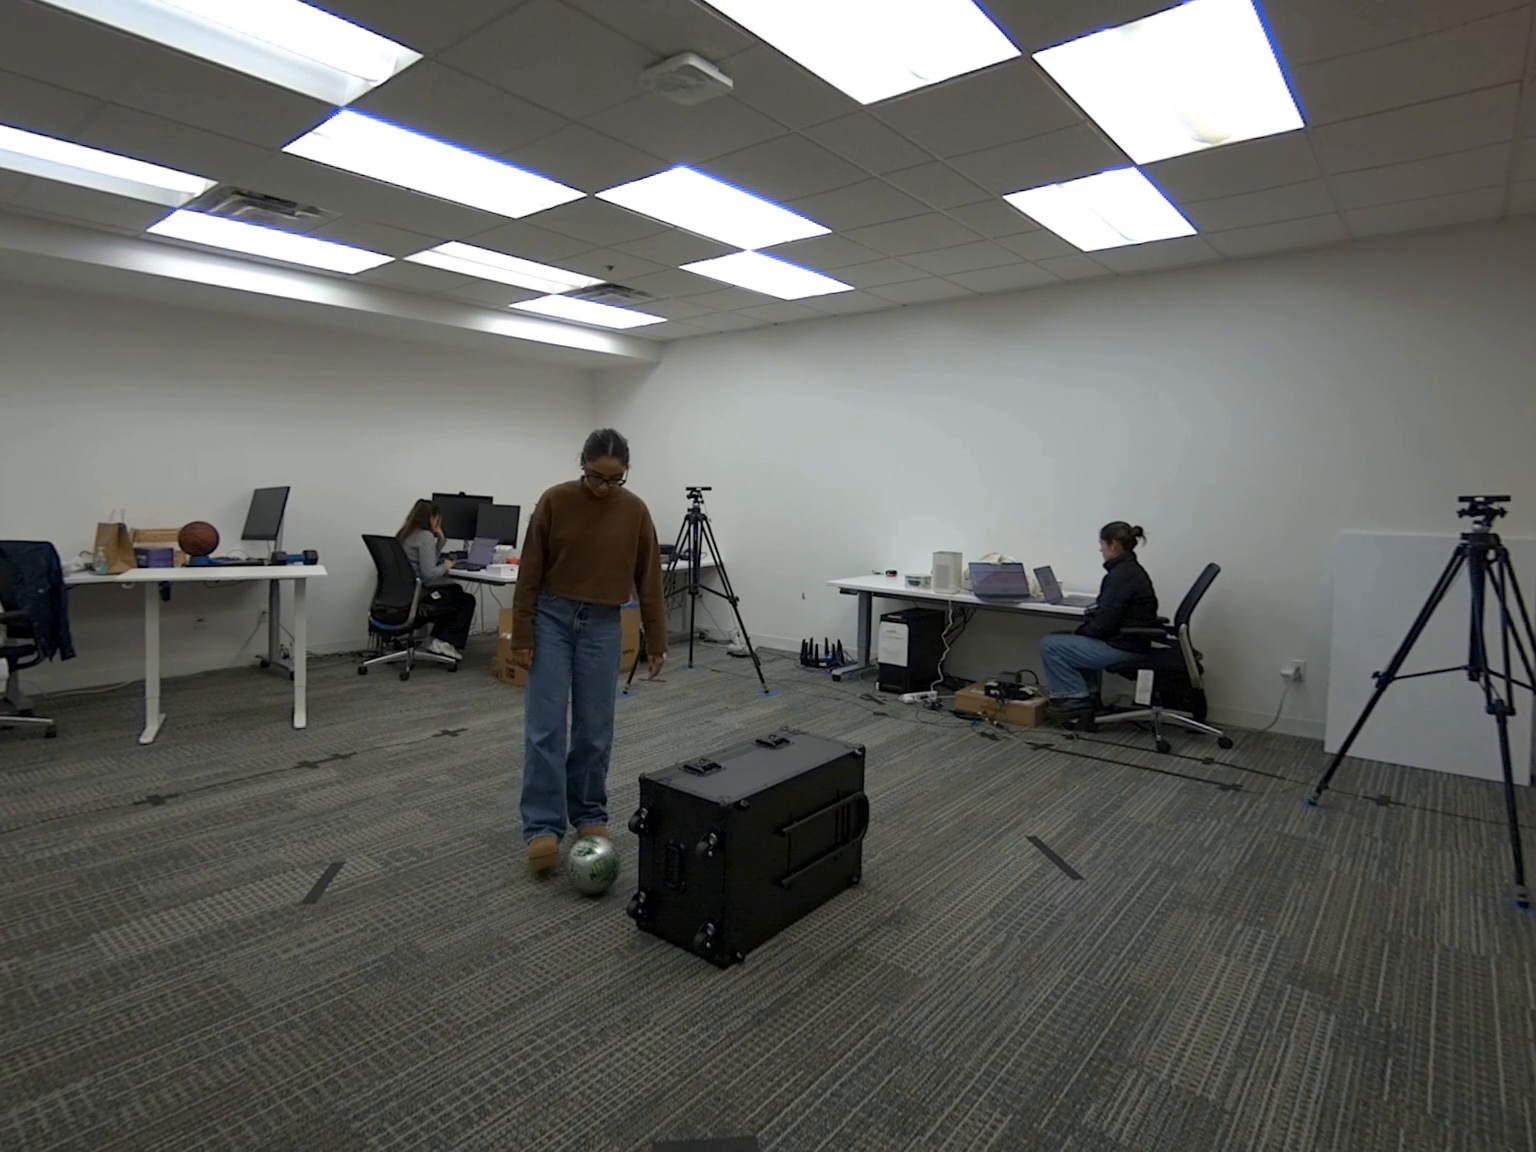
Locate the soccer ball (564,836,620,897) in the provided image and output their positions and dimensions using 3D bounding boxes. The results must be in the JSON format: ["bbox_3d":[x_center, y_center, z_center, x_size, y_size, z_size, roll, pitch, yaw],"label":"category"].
[{"bbox_3d":[-0.607,0.982,2.911,0.187,0.187,0.188,1,4,-2],"label":"soccer ball"}]
